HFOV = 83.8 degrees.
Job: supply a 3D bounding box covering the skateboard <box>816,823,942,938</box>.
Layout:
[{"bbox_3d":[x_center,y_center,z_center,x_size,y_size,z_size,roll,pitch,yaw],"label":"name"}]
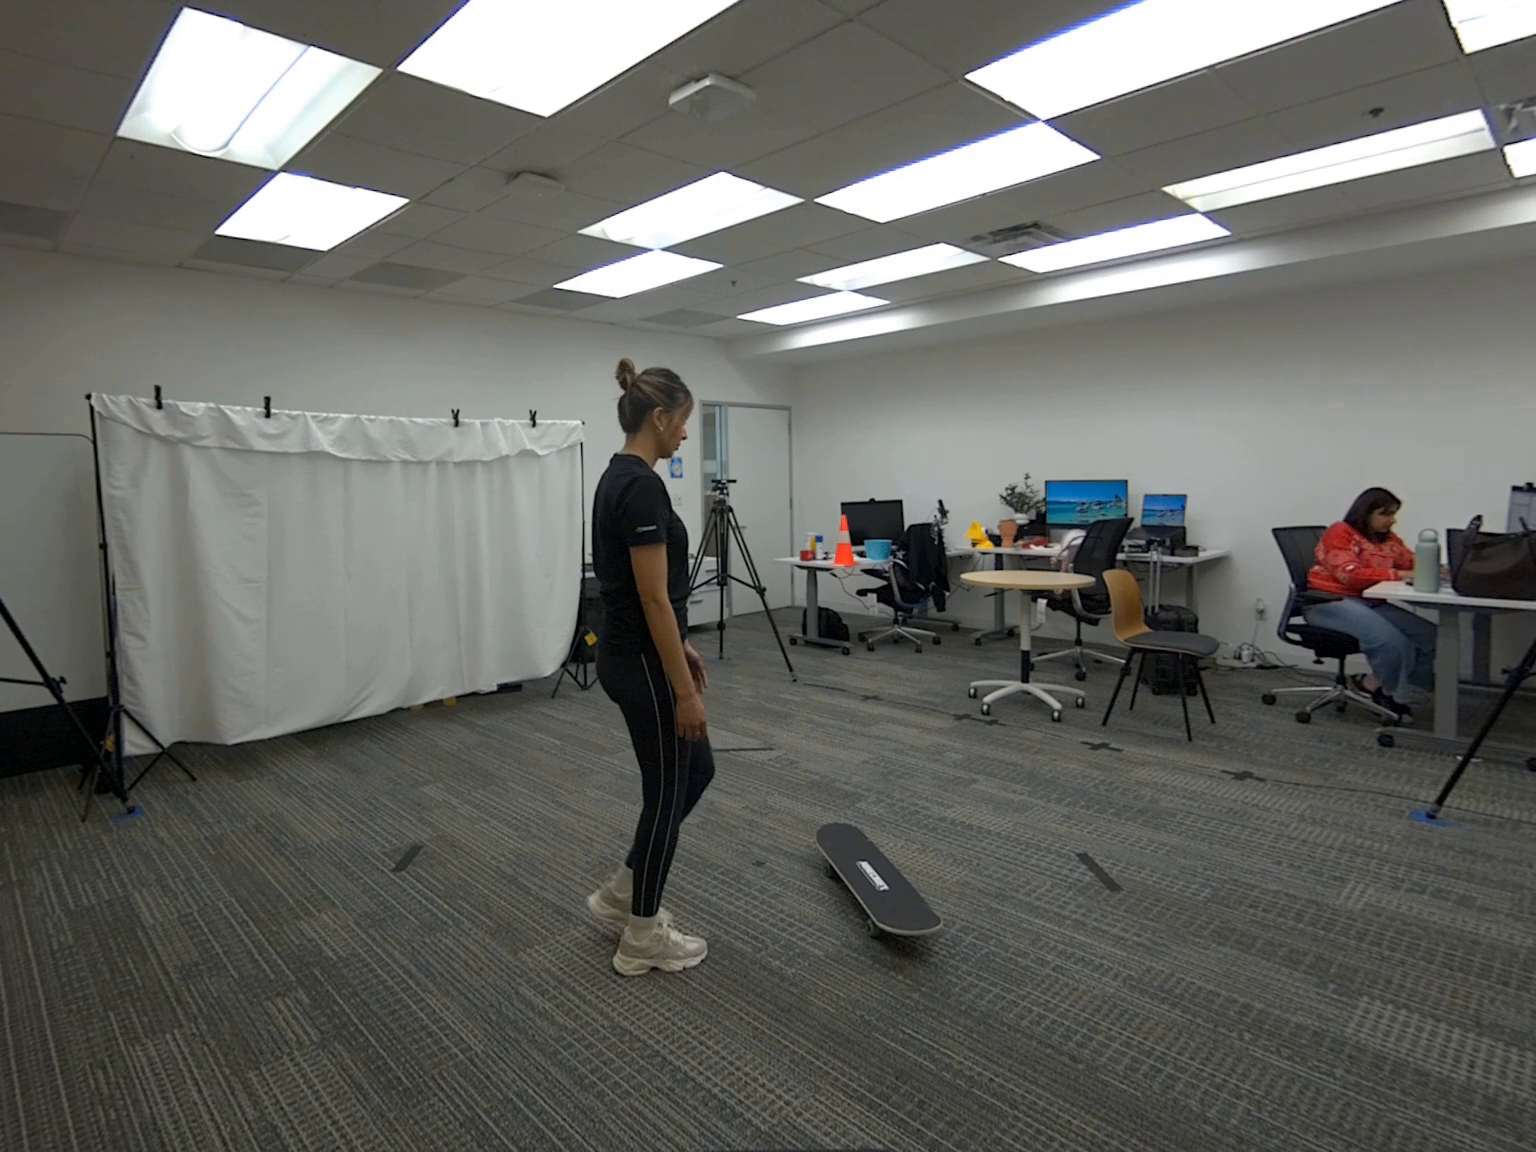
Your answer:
[{"bbox_3d":[0.352,1.017,2.815,0.191,0.110,0.798,-2,6,-14],"label":"skateboard"}]
